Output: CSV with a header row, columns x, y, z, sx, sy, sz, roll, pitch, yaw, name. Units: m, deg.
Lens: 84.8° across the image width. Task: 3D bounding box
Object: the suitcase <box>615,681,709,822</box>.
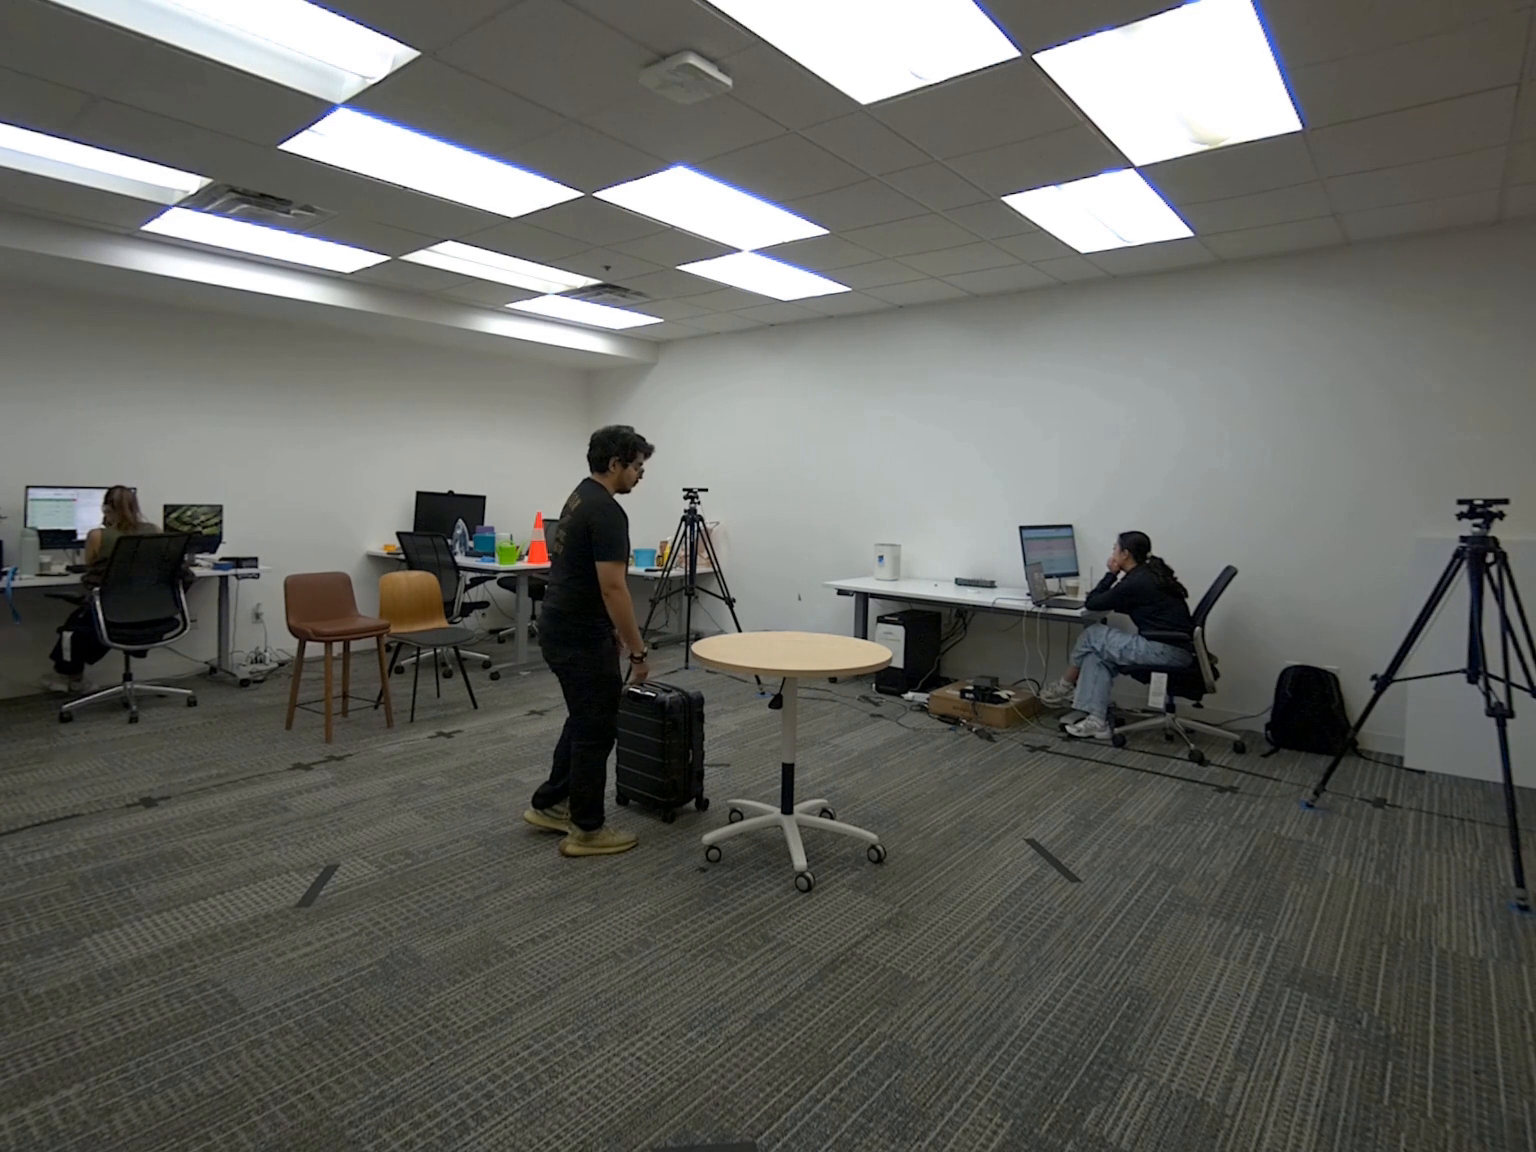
x,y,z,sx,sy,sz,roll,pitch,yaw,name
-0.479,0.729,3.701,0.388,0.547,0.241,3,5,42,suitcase
